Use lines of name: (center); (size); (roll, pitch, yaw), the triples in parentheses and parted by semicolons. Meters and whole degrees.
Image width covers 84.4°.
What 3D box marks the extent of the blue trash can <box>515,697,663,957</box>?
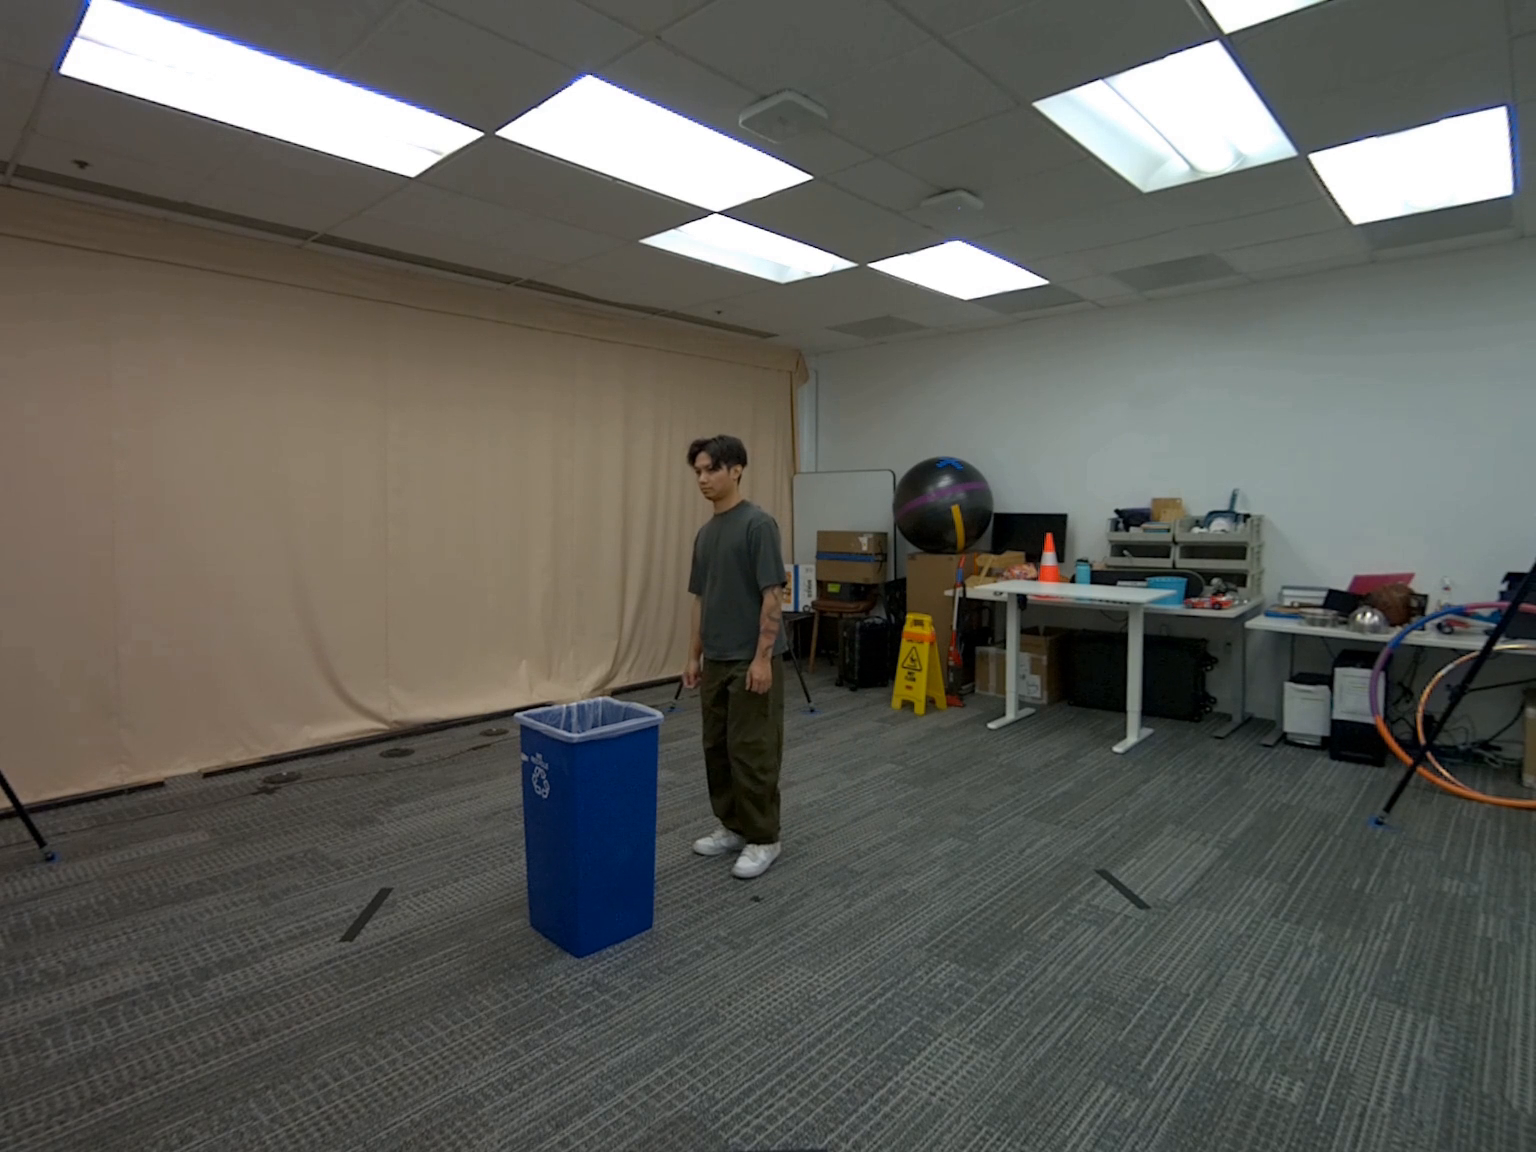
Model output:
blue trash can: (-0.587, 0.807, 2.785); (0.391, 0.712, 0.363); (3, 5, 44)
